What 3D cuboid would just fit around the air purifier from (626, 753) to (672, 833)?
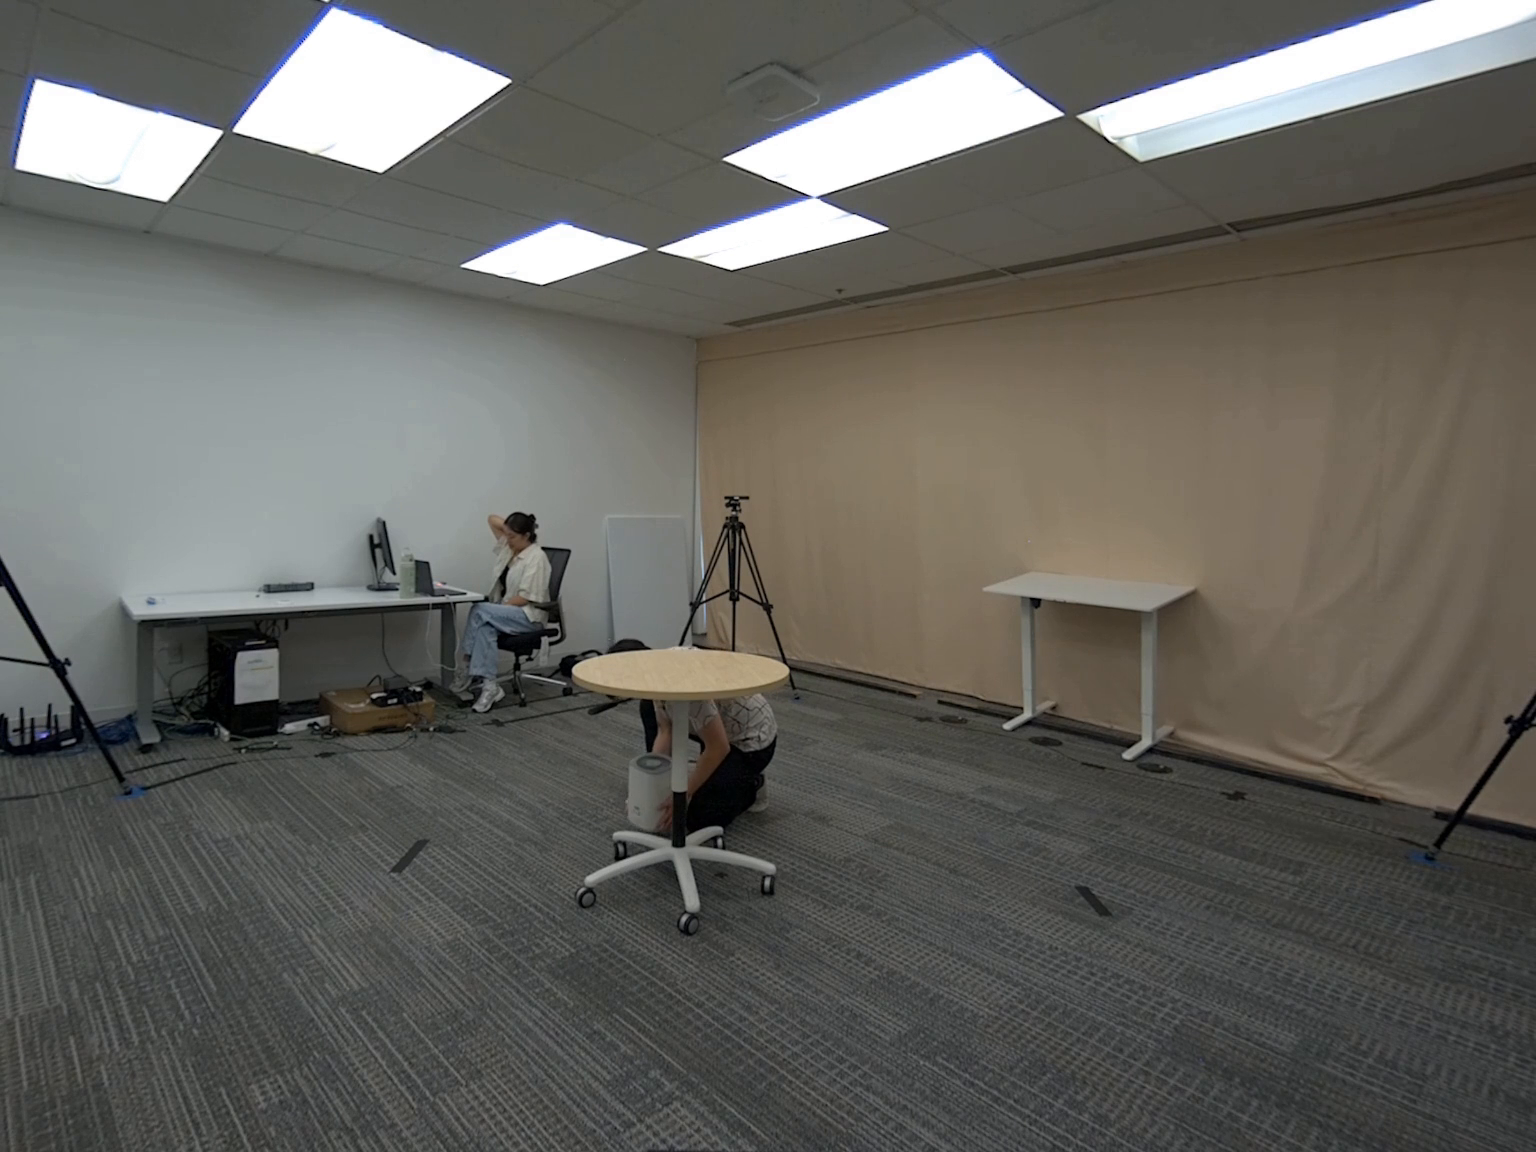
[{"bbox_3d":[-0.479,0.873,3.411,0.176,0.263,0.168,11,14,38],"label":"air purifier"}]
